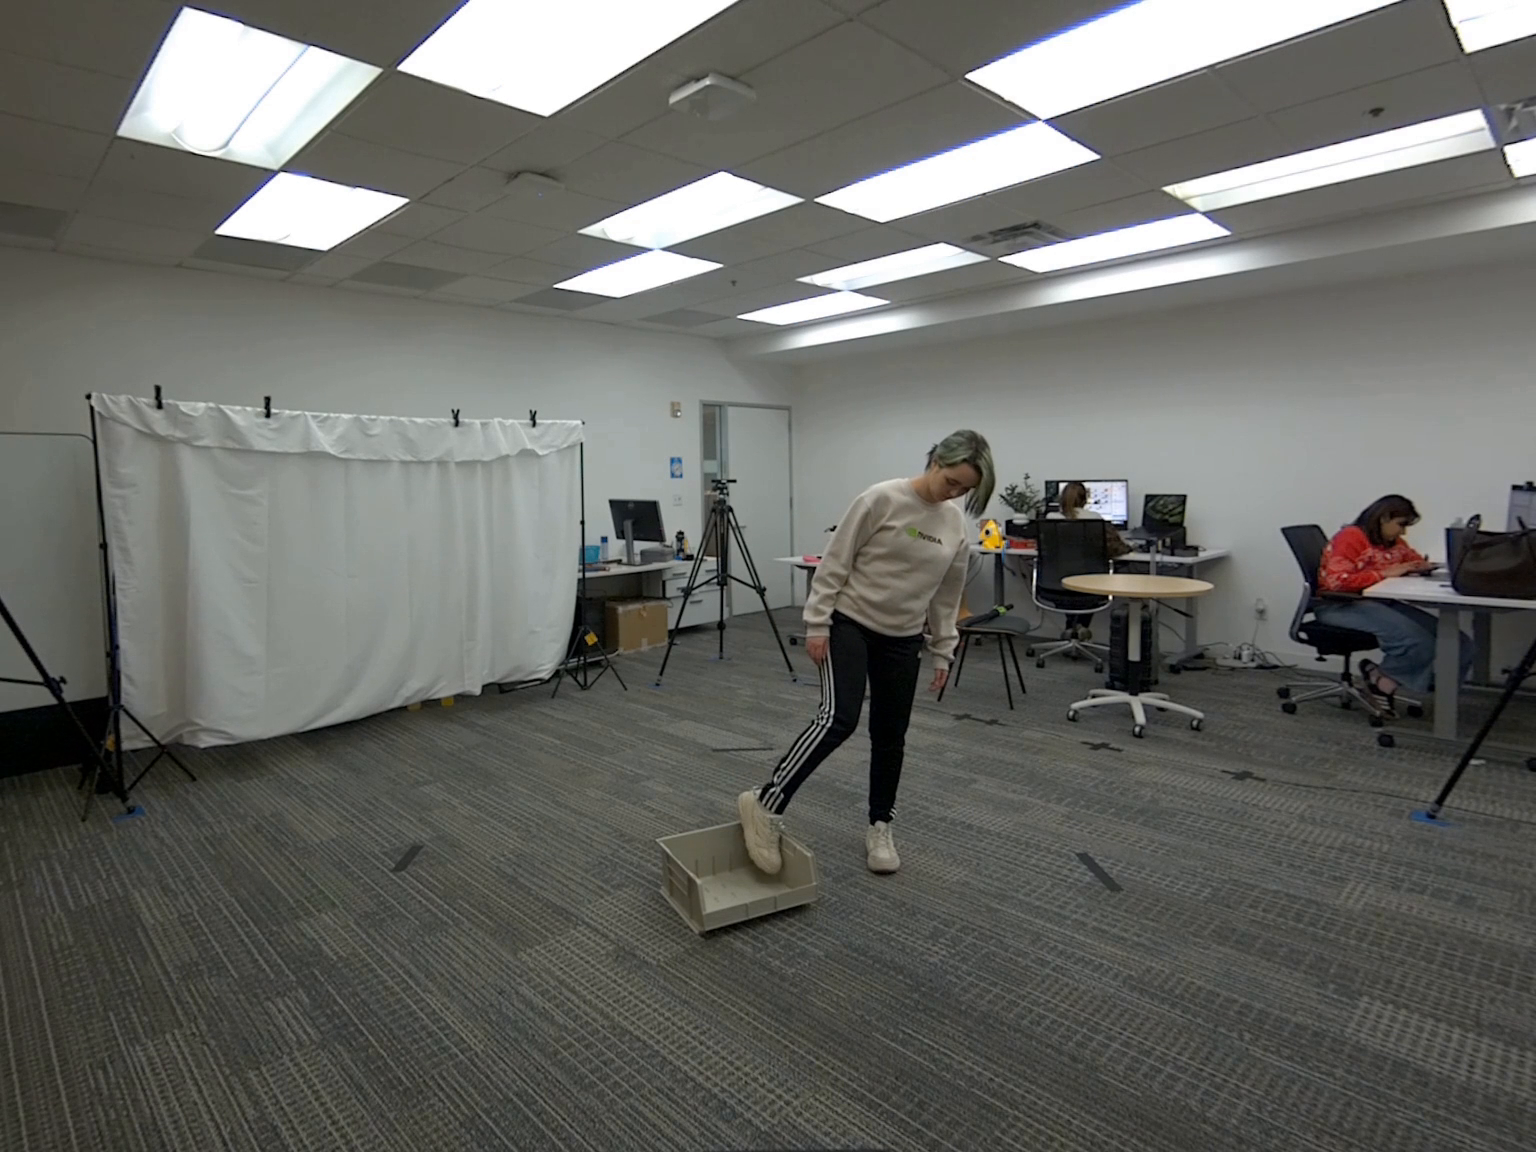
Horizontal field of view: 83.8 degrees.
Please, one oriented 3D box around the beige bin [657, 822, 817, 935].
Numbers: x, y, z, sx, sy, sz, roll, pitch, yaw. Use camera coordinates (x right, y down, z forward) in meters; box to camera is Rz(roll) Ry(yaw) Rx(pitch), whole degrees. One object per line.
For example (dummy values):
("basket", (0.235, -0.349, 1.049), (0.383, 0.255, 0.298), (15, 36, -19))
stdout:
("beige bin", (-0.104, 0.989, 2.835), (0.413, 0.188, 0.387), (-5, 6, -27))
